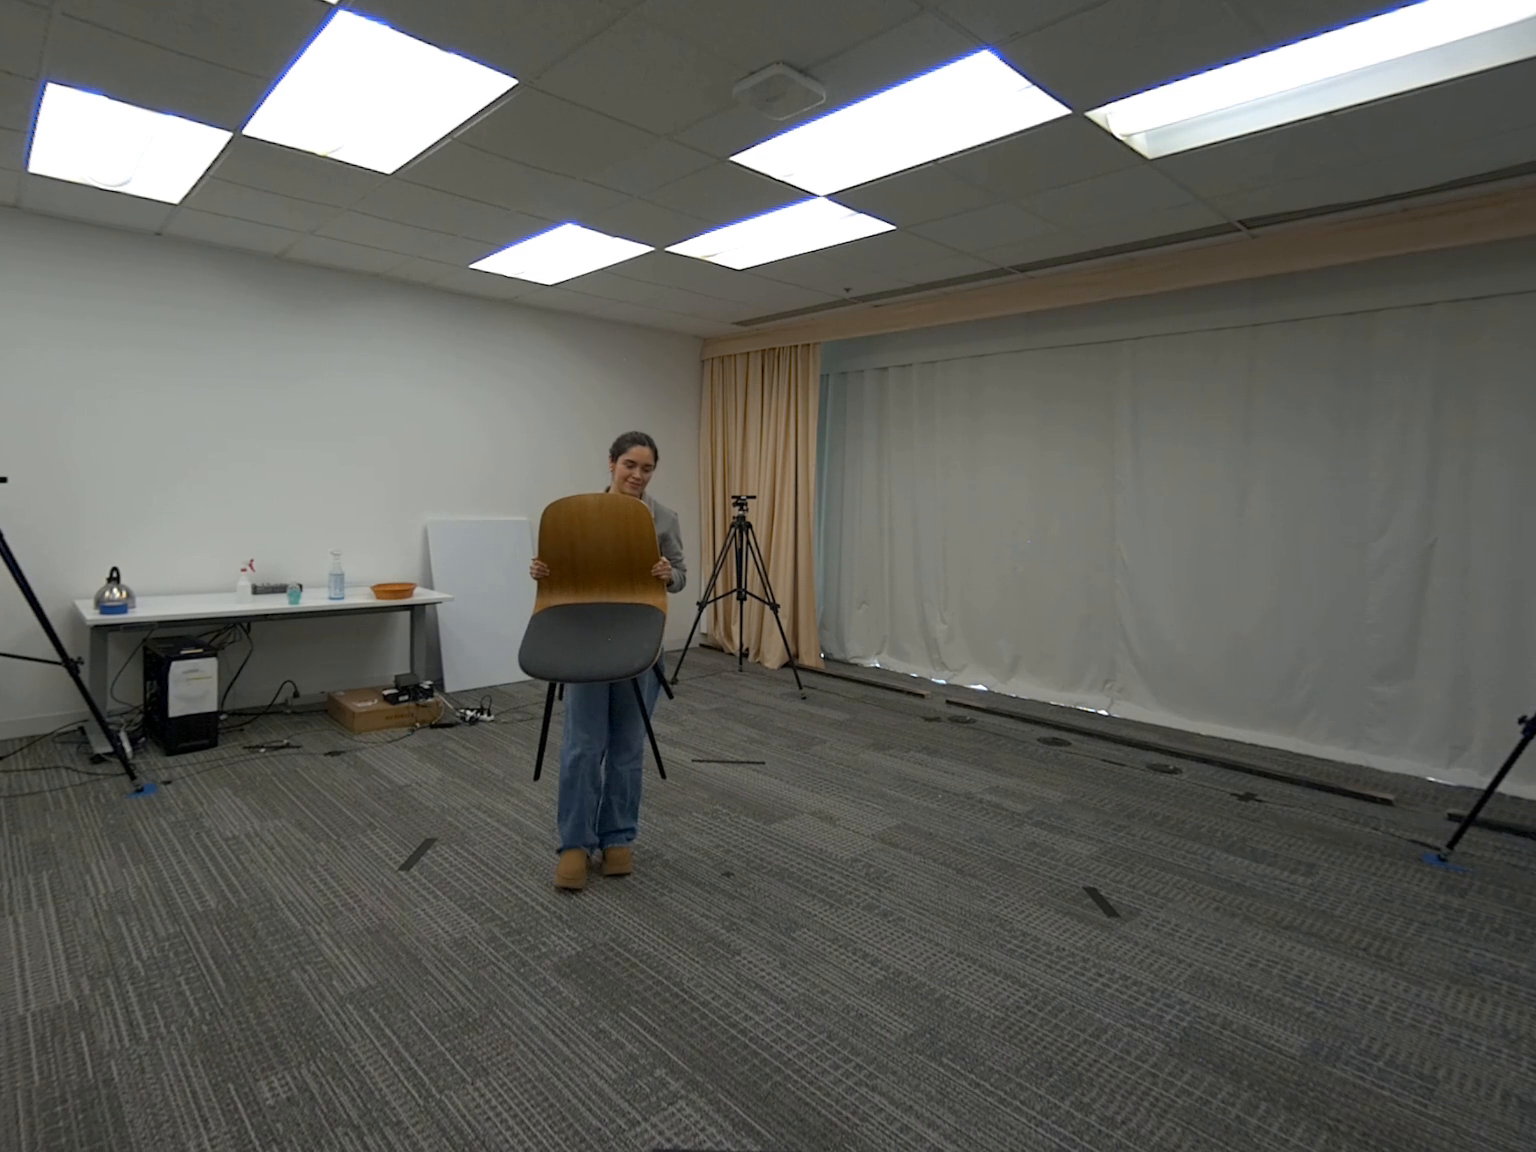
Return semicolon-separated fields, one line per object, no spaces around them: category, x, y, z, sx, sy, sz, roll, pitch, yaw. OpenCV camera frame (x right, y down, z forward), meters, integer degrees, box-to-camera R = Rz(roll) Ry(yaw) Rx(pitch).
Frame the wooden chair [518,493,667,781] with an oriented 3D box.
wooden chair;-0.579;0.228;2.852;0.478;0.864;0.531;1;23;-1
